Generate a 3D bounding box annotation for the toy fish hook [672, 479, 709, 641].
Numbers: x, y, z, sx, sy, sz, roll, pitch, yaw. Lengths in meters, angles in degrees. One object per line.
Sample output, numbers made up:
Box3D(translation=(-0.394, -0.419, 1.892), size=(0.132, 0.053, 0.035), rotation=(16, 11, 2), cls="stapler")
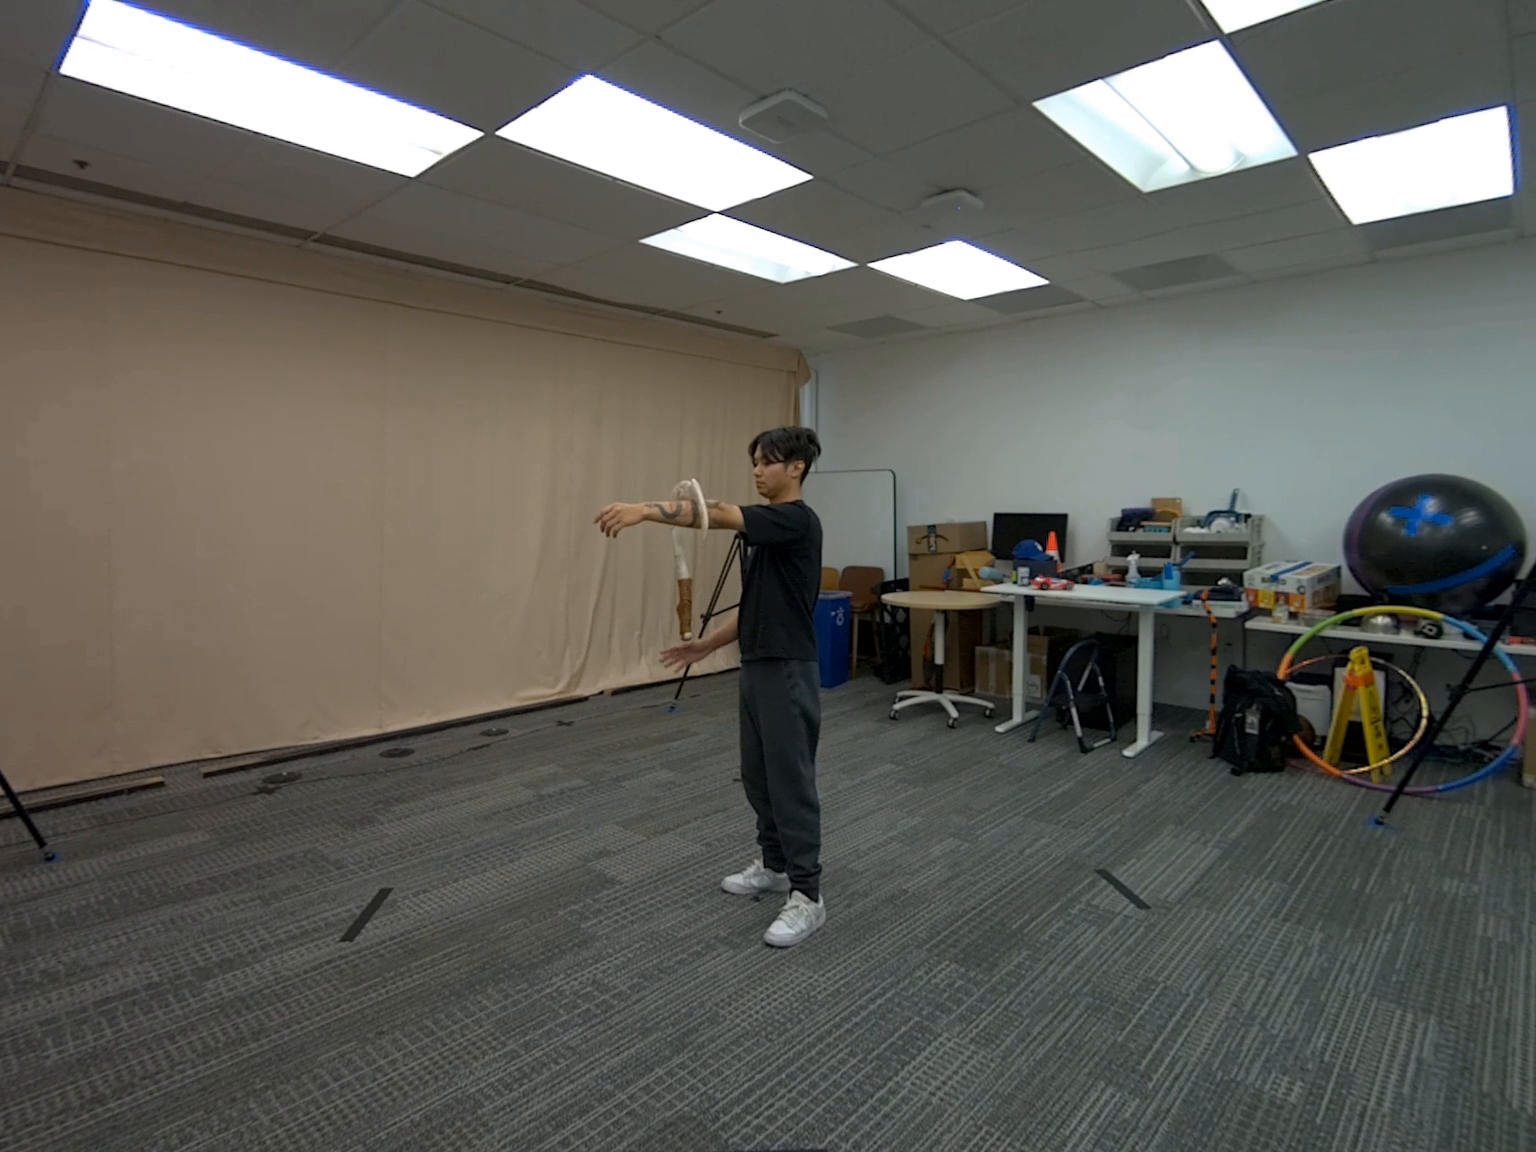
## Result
Box3D(translation=(-0.239, -0.040, 2.625), size=(0.047, 0.507, 0.230), rotation=(-2, -1, -28), cls="toy fish hook")
